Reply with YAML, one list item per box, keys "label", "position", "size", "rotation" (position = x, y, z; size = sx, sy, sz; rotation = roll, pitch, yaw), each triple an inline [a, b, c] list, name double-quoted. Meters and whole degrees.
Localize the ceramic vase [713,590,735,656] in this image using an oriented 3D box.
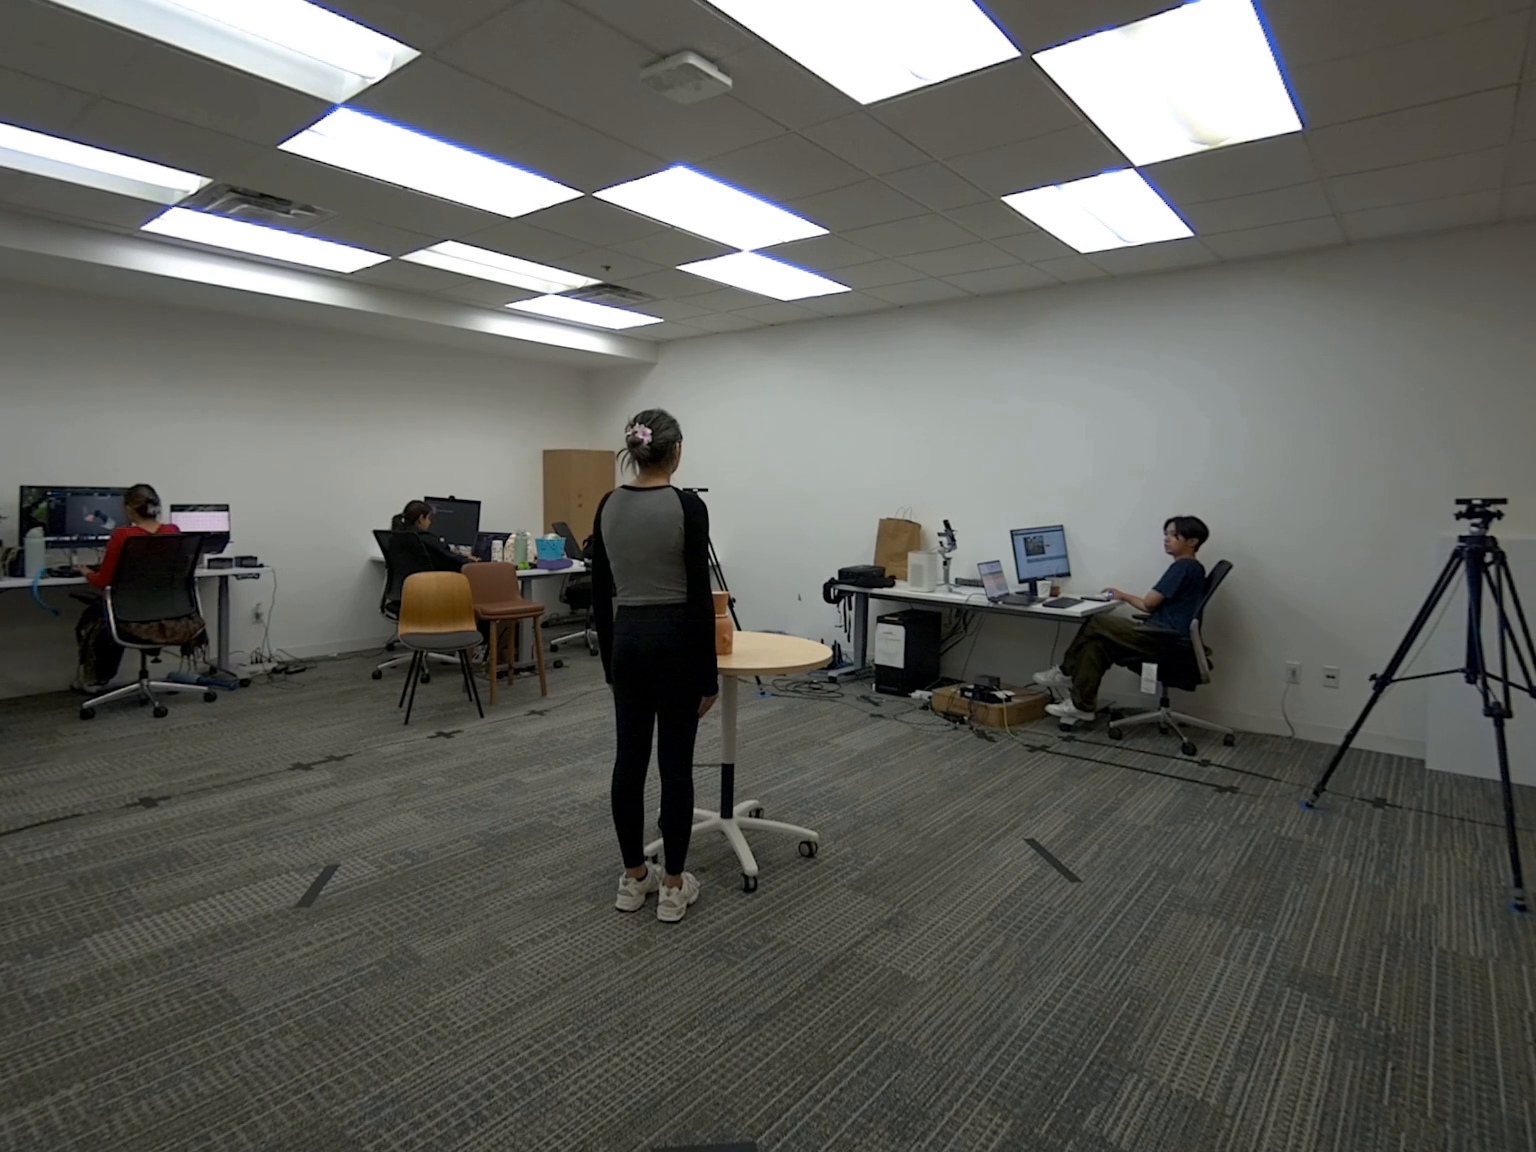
- label: "ceramic vase"
  position: [-0.204, 0.166, 3.114]
  size: [0.162, 0.219, 0.132]
  rotation: [2, 4, 17]
